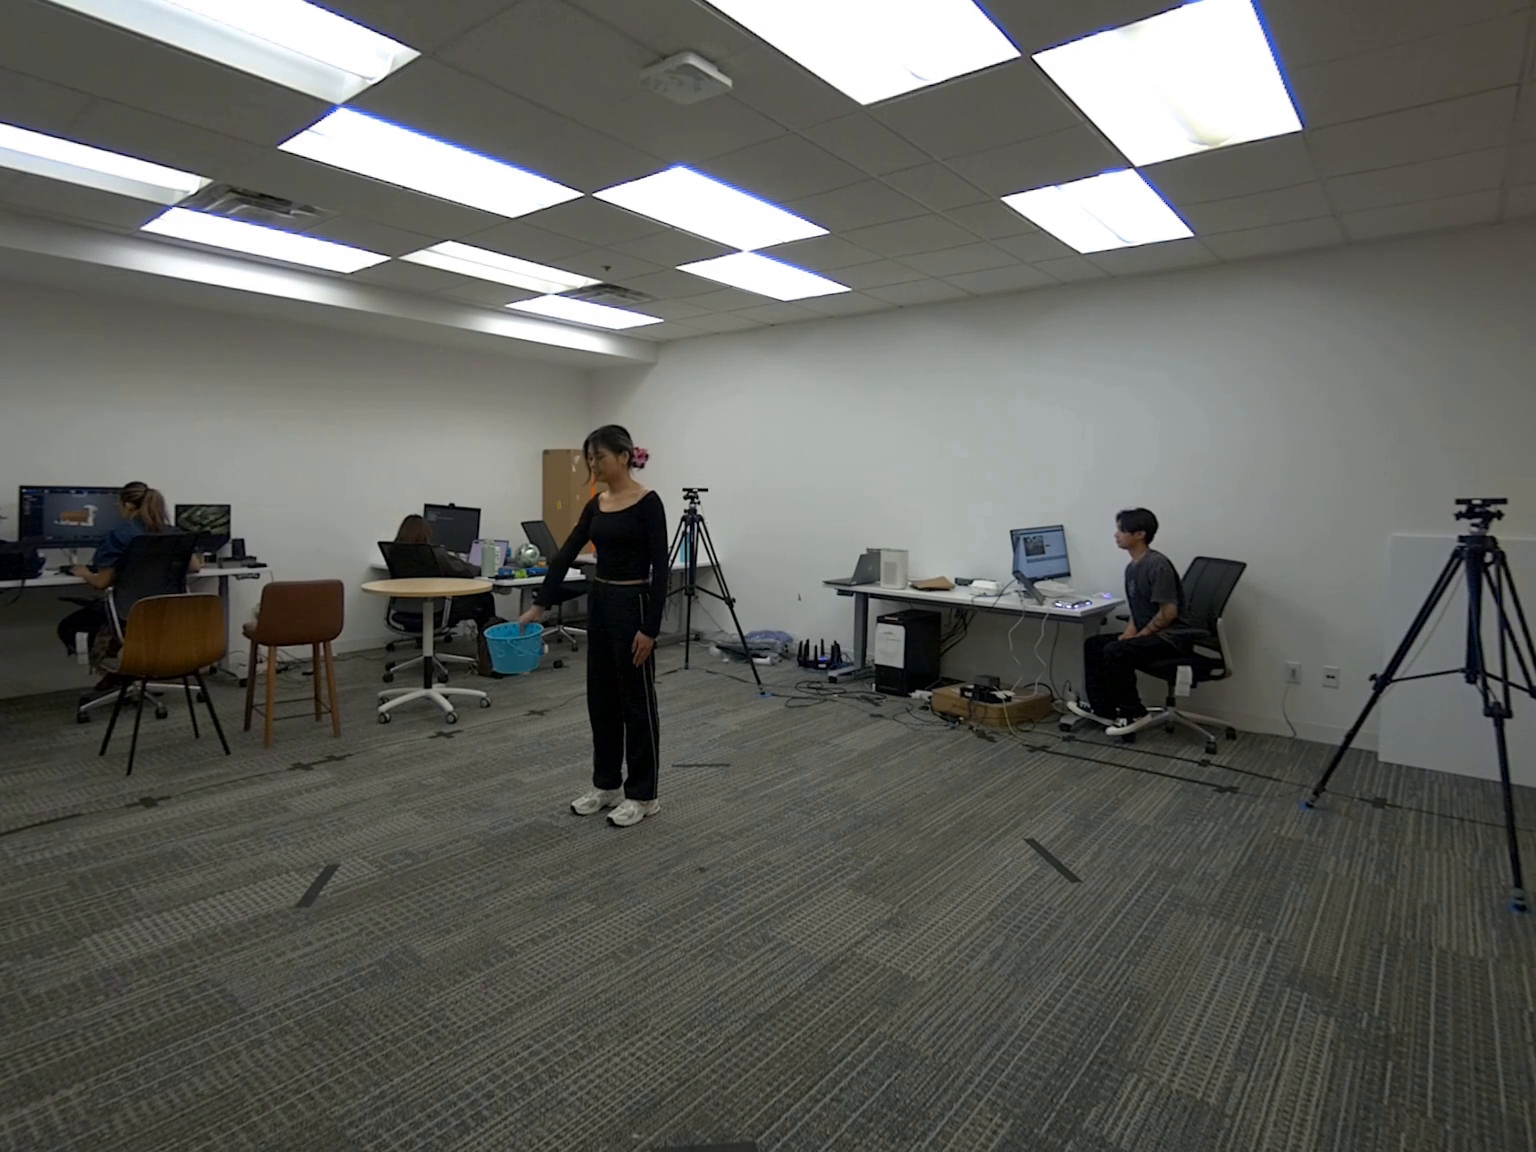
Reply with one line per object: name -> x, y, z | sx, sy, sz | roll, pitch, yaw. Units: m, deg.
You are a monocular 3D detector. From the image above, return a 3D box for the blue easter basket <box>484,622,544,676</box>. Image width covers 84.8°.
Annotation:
blue easter basket -> -1.048, 0.289, 3.445 | 0.243, 0.154, 0.247 | -3, 13, -1
